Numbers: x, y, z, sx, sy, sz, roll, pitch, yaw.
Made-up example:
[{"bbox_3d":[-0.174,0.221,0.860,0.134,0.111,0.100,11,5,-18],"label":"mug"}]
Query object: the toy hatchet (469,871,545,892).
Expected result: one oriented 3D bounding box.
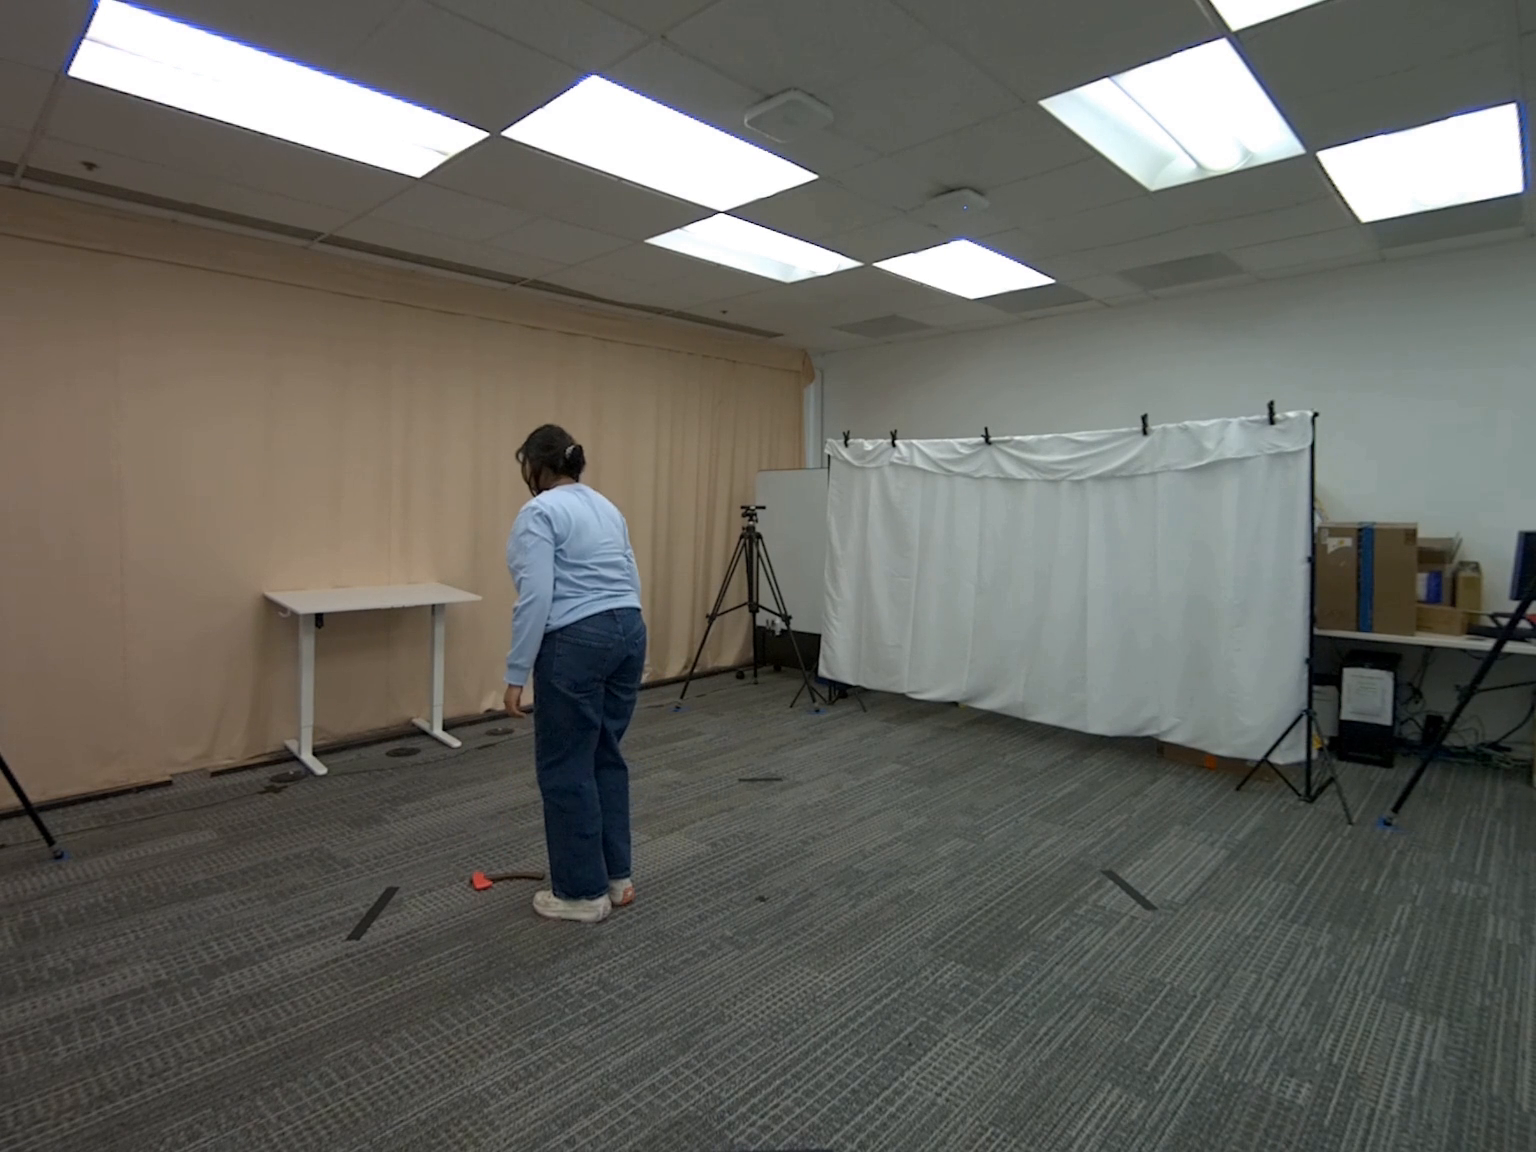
[{"bbox_3d":[-0.974,1.129,3.116,0.271,0.029,0.131,1,5,2],"label":"toy hatchet"}]
